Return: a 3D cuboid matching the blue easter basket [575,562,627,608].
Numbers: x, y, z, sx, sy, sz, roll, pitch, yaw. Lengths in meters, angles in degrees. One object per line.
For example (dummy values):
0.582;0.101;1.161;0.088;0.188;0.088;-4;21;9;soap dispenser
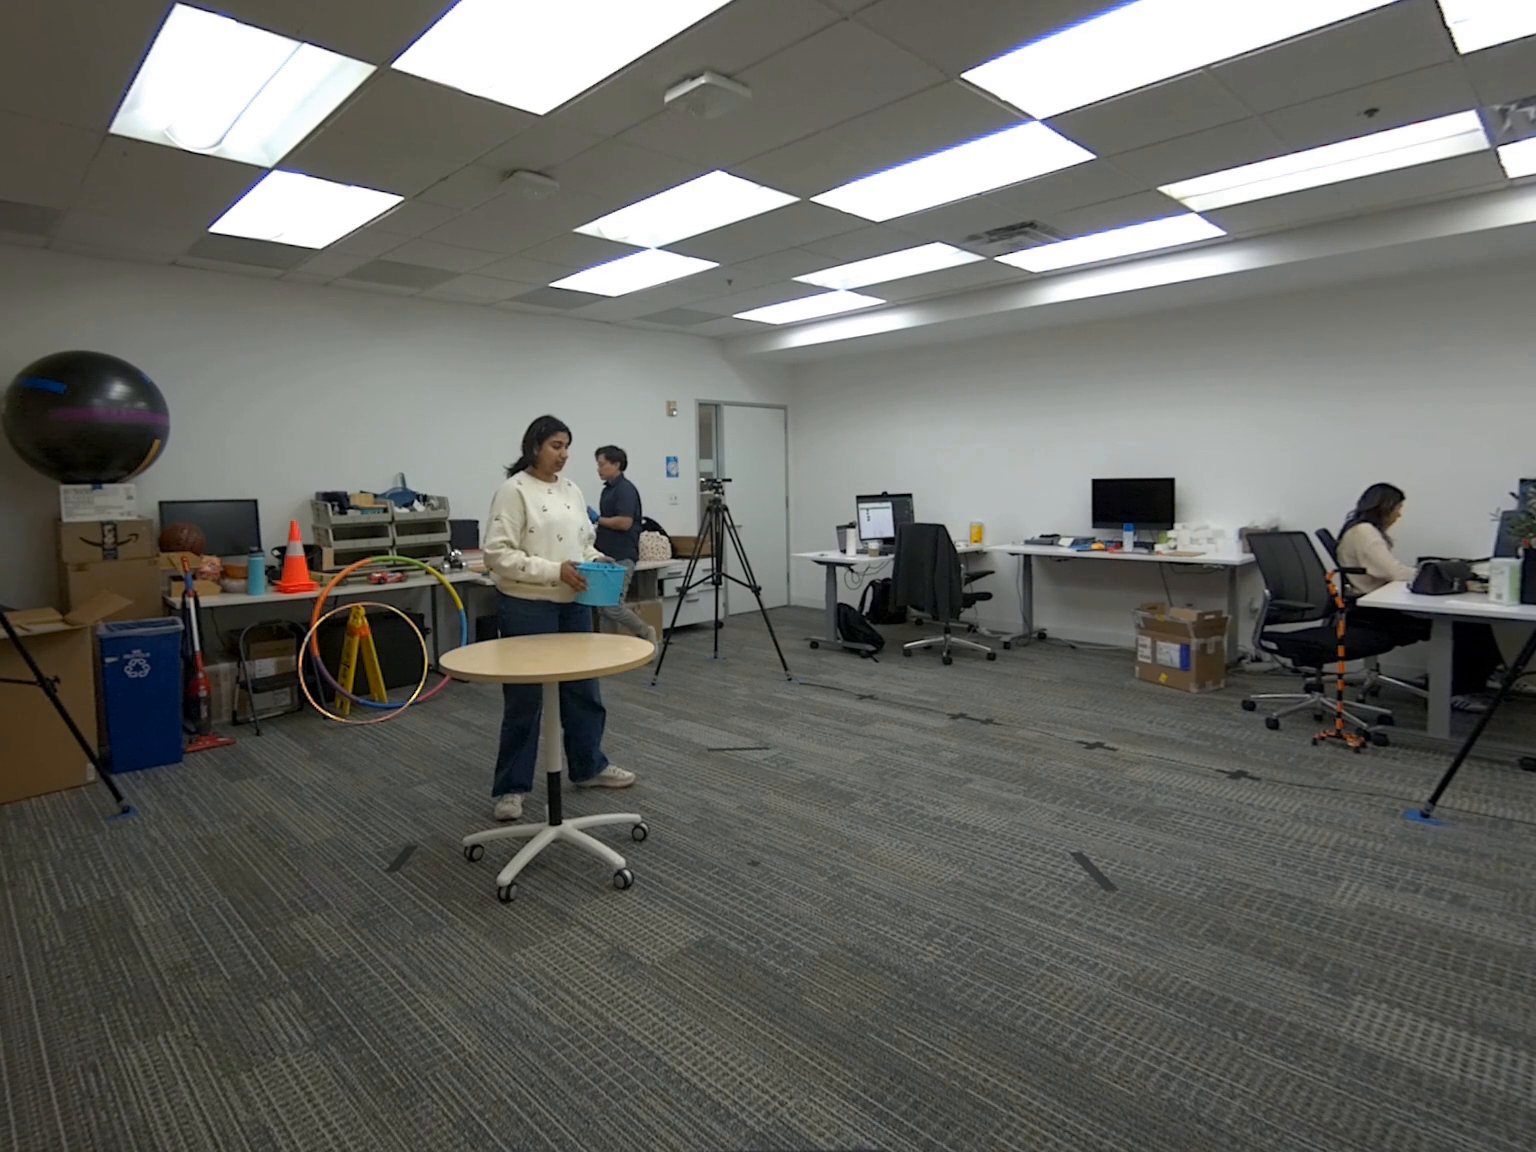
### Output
-0.714;0.033;3.583;0.243;0.155;0.245;3;6;-2;blue easter basket
